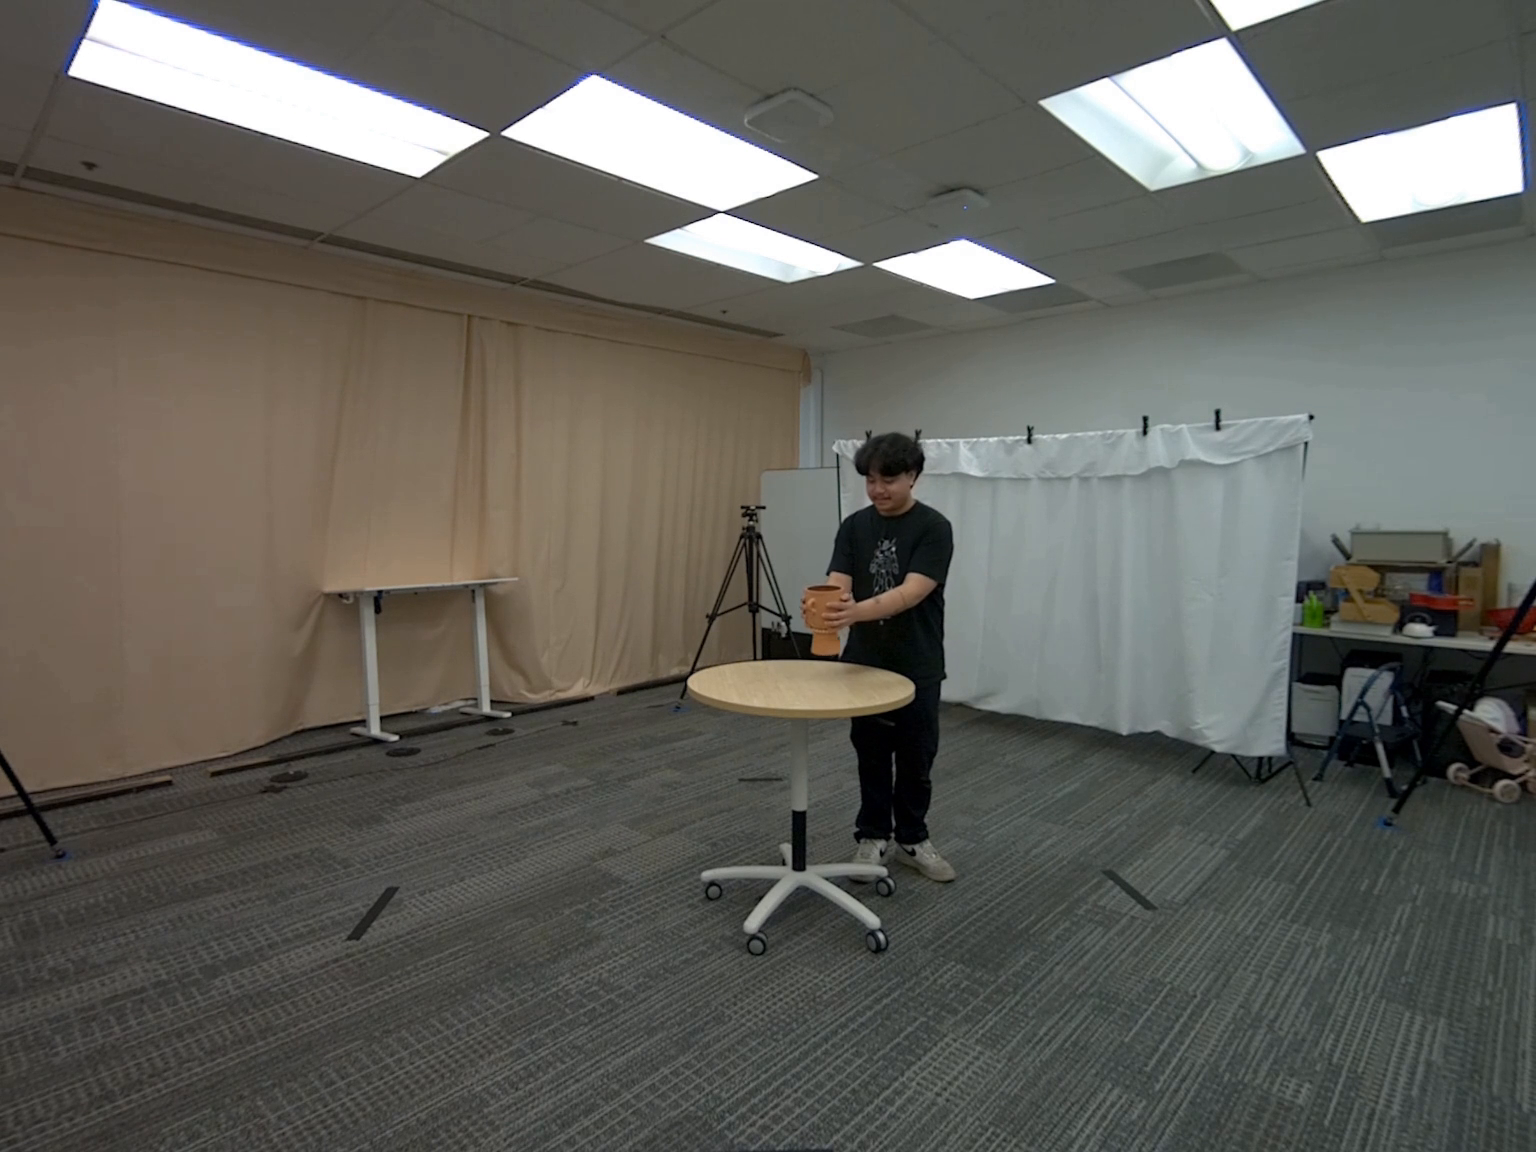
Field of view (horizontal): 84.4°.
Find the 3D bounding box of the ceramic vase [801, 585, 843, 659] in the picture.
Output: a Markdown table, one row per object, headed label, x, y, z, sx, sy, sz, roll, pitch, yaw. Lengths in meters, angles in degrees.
| label | x | y | z | sx | sy | sz | roll | pitch | yaw |
| --- | --- | --- | --- | --- | --- | --- | --- | --- | --- |
| ceramic vase | 0.198 | 0.152 | 2.849 | 0.156 | 0.219 | 0.137 | -4 | 8 | -16 |
